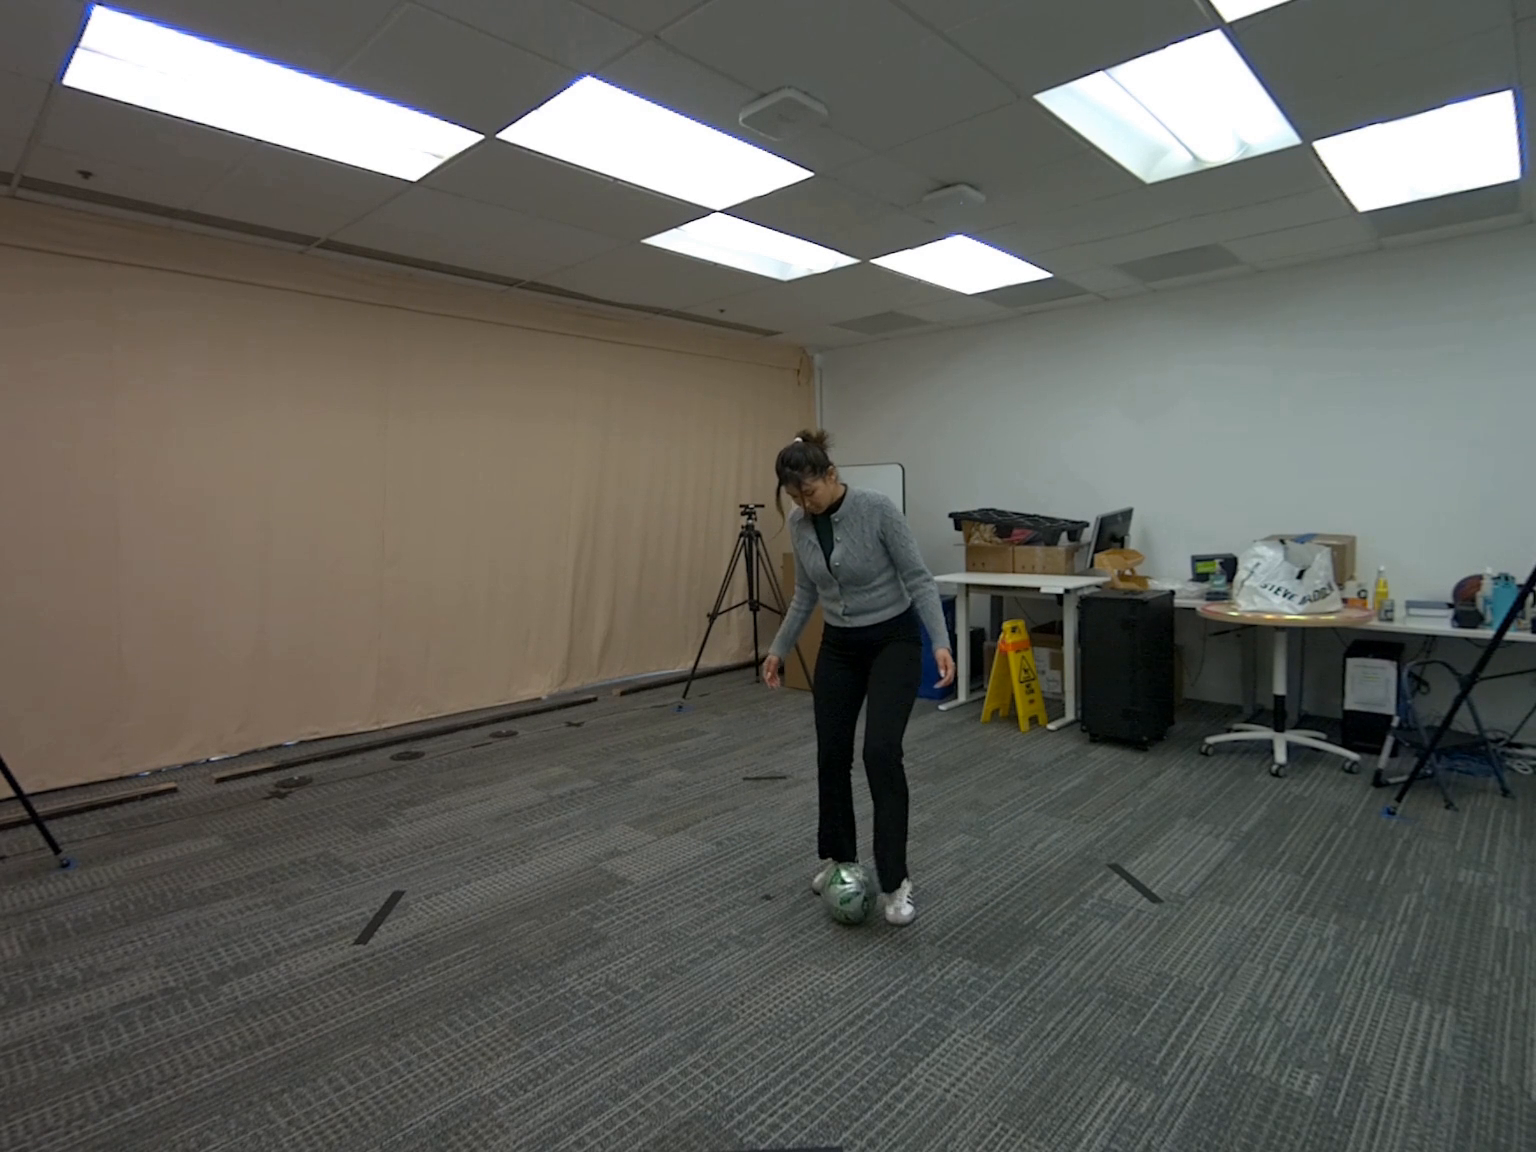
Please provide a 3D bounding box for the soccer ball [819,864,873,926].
[{"bbox_3d":[0.265,1.049,2.814,0.187,0.187,0.188,-1,4,-2],"label":"soccer ball"}]
